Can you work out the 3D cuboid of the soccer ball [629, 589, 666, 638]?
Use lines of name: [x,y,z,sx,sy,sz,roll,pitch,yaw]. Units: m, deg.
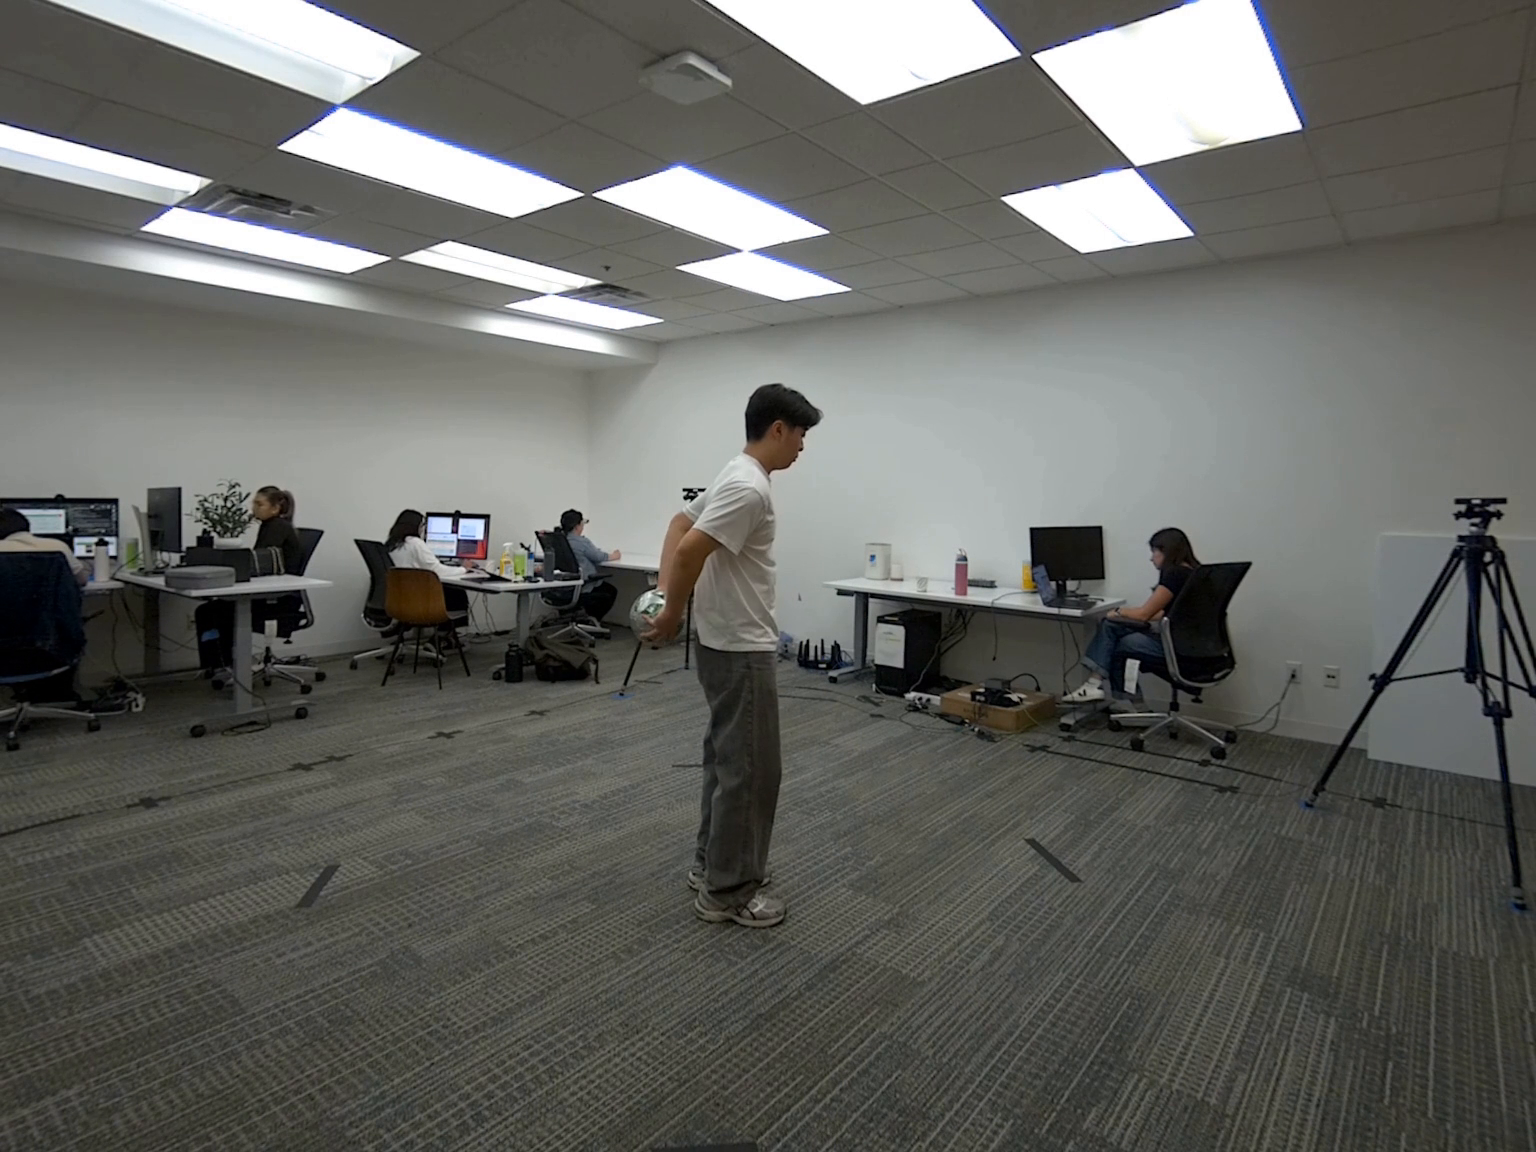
soccer ball: [-0.375,0.139,2.864,0.187,0.187,0.188,1,4,-2]
